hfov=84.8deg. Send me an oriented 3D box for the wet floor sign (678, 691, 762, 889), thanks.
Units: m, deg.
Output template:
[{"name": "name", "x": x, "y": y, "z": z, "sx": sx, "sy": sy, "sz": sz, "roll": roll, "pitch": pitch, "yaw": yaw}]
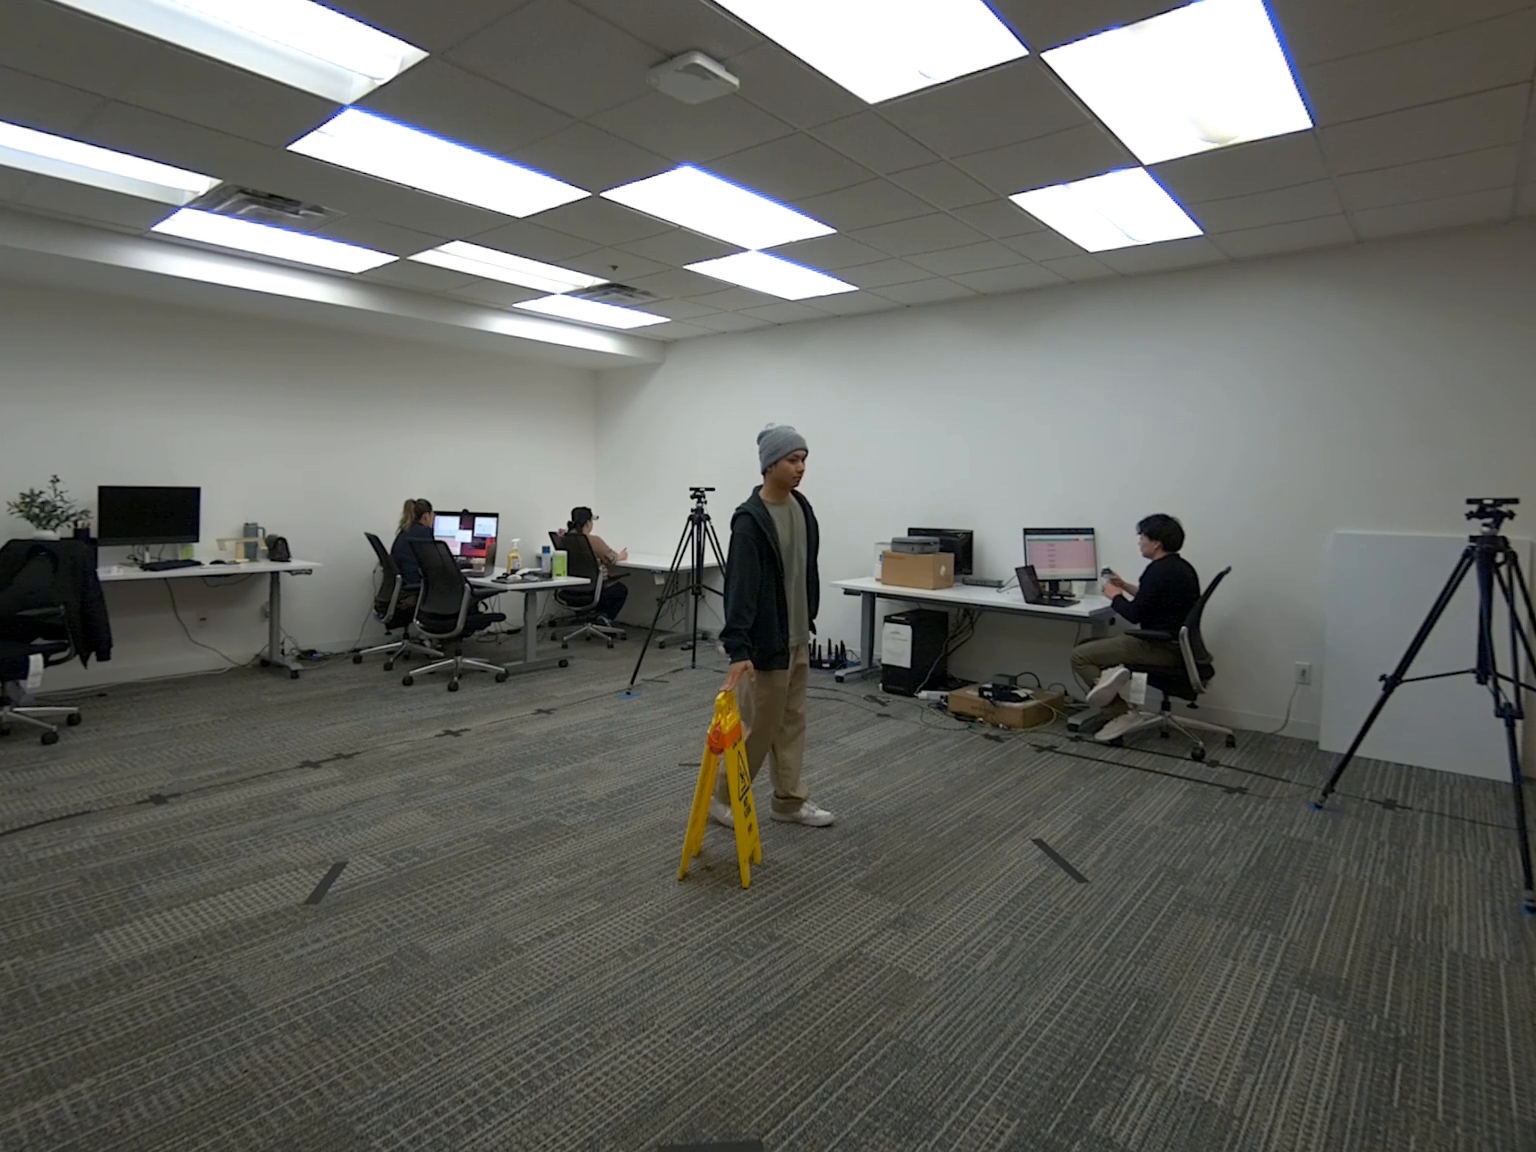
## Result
[{"name": "wet floor sign", "x": -0.169, "y": 0.743, "z": 3.094, "sx": 0.294, "sy": 0.644, "sz": 0.279, "roll": 2, "pitch": 4, "yaw": 11}]
